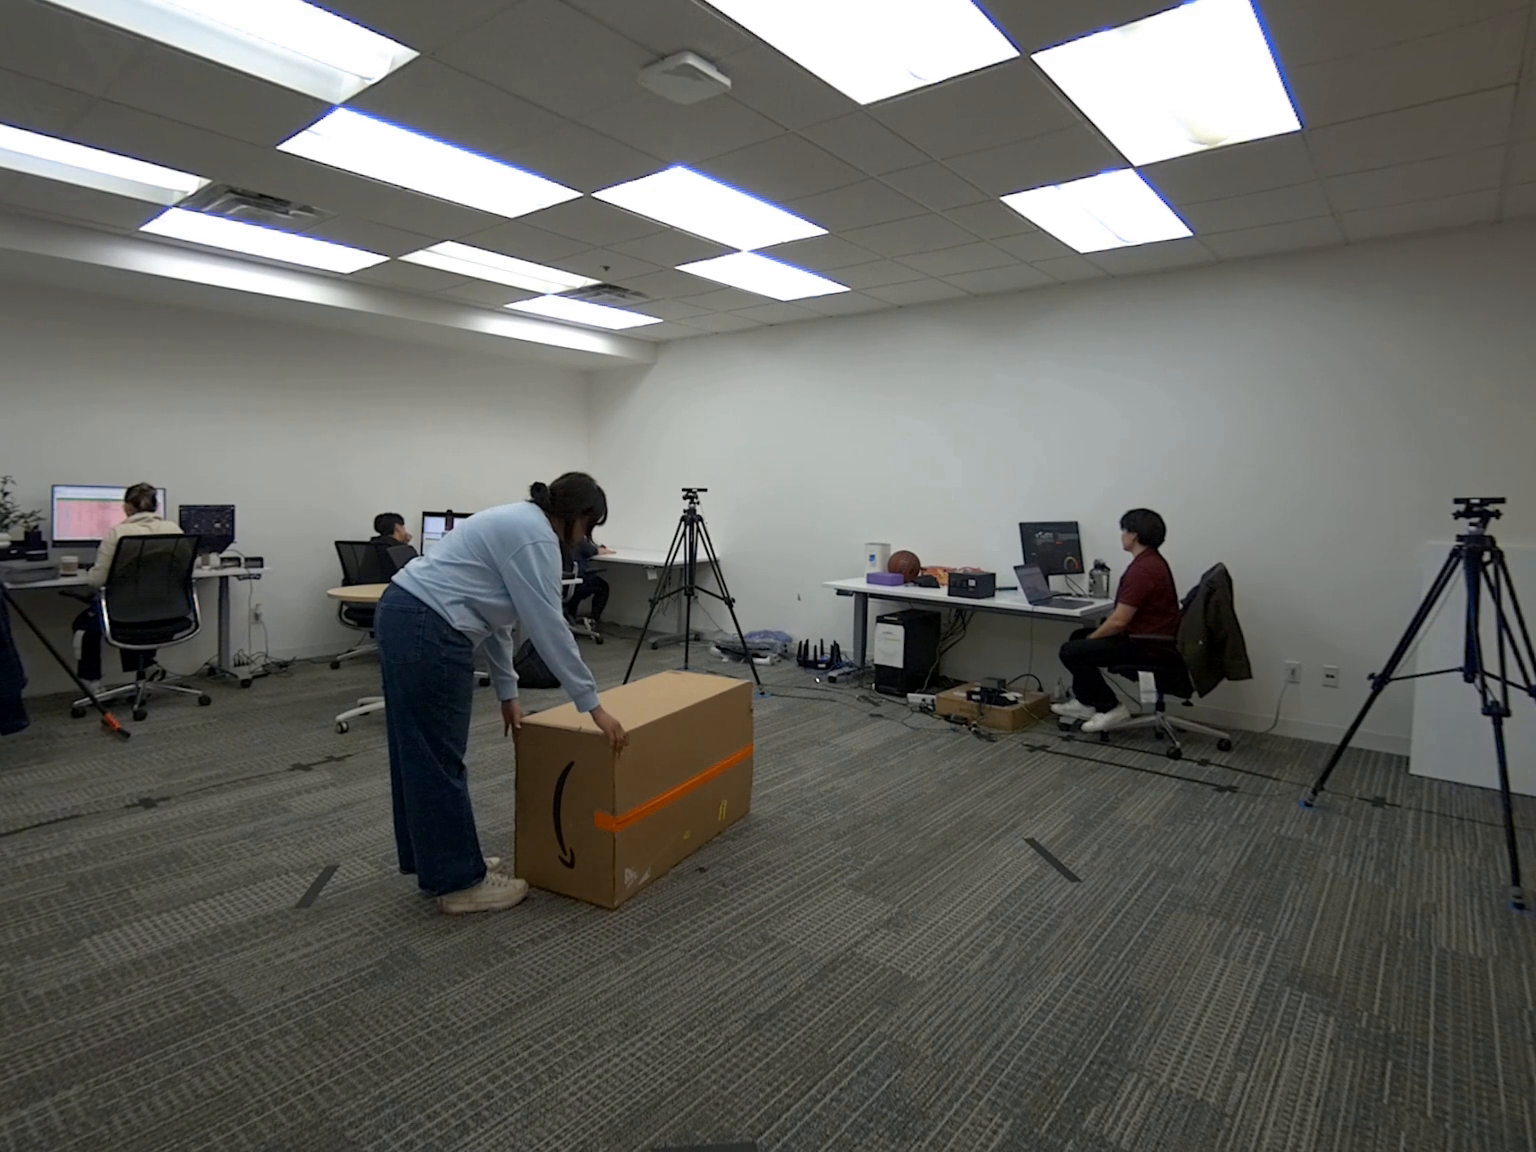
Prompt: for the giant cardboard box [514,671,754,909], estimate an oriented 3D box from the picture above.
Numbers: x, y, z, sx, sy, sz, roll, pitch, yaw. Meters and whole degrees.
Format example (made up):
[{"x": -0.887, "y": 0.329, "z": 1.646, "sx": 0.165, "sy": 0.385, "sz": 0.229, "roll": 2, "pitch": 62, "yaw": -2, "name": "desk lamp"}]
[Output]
[{"x": -0.484, "y": 0.759, "z": 3.320, "sx": 0.459, "sy": 0.582, "sz": 1.003, "roll": 2, "pitch": 5, "yaw": 27, "name": "giant cardboard box"}]
